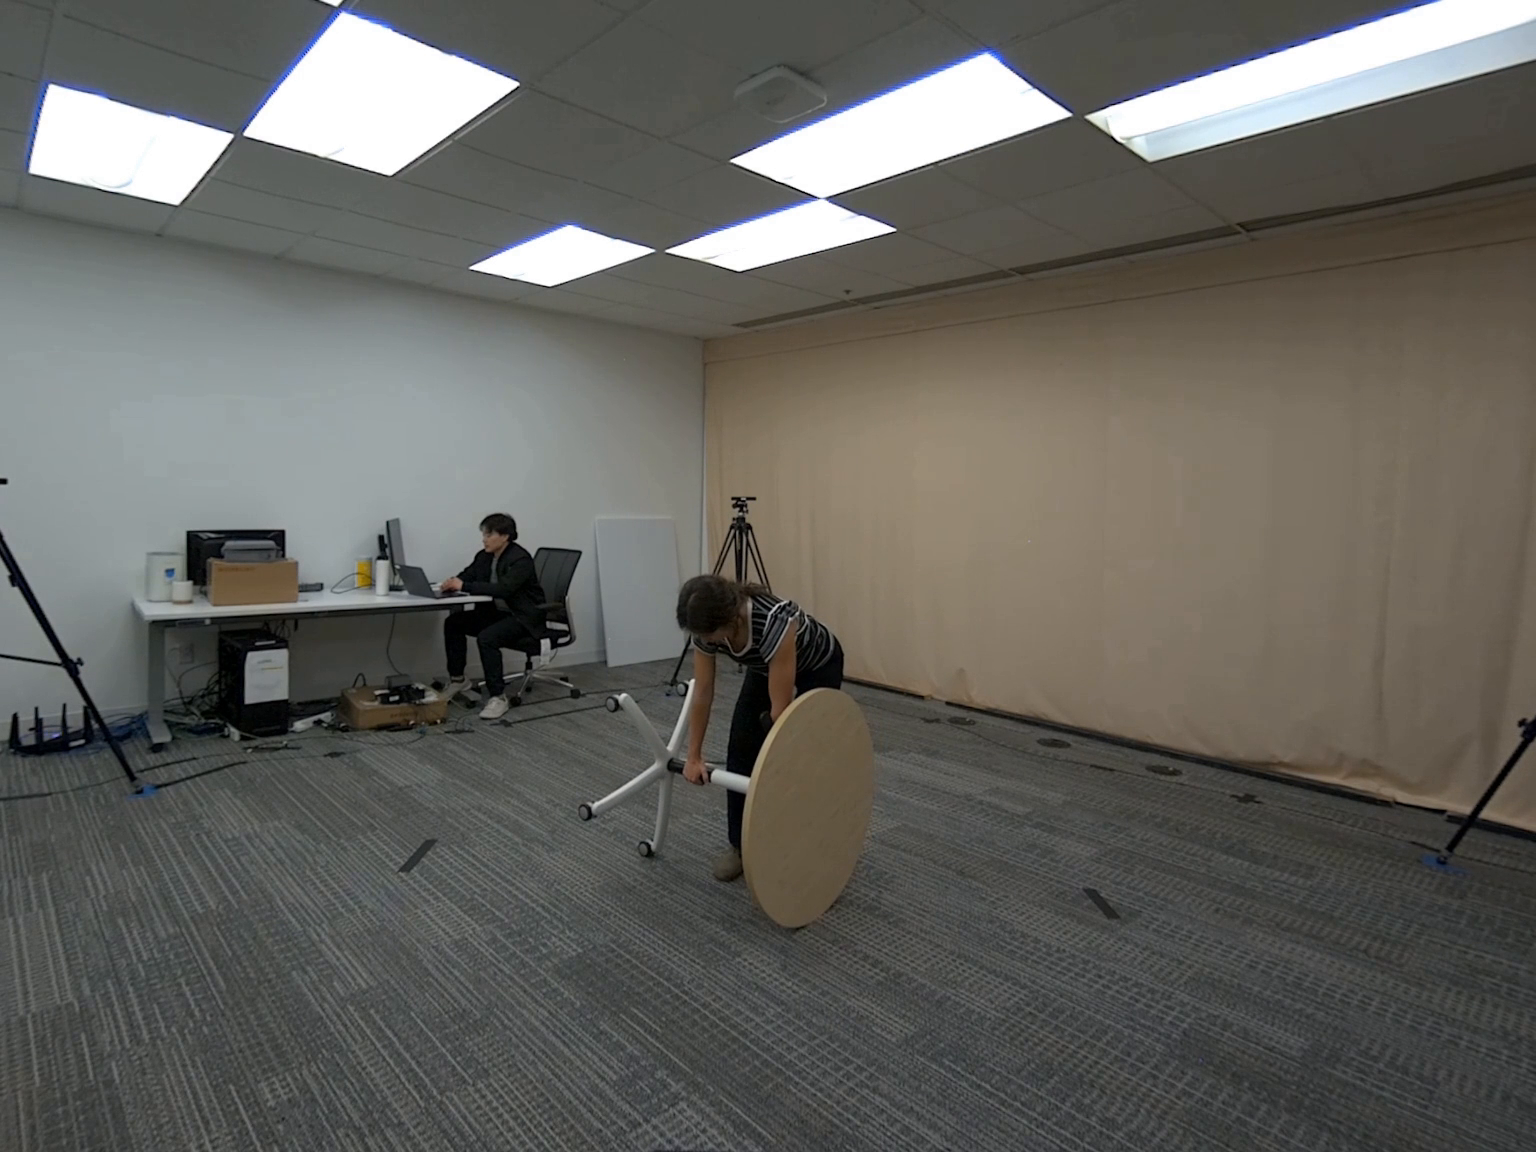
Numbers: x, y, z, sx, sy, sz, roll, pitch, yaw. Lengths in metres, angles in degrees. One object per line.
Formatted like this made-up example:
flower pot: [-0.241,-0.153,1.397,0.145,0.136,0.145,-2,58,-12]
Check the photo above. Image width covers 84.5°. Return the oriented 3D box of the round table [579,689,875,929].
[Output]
round table: [-0.163,0.743,3.024,0.813,0.762,0.747,3,4,38]
